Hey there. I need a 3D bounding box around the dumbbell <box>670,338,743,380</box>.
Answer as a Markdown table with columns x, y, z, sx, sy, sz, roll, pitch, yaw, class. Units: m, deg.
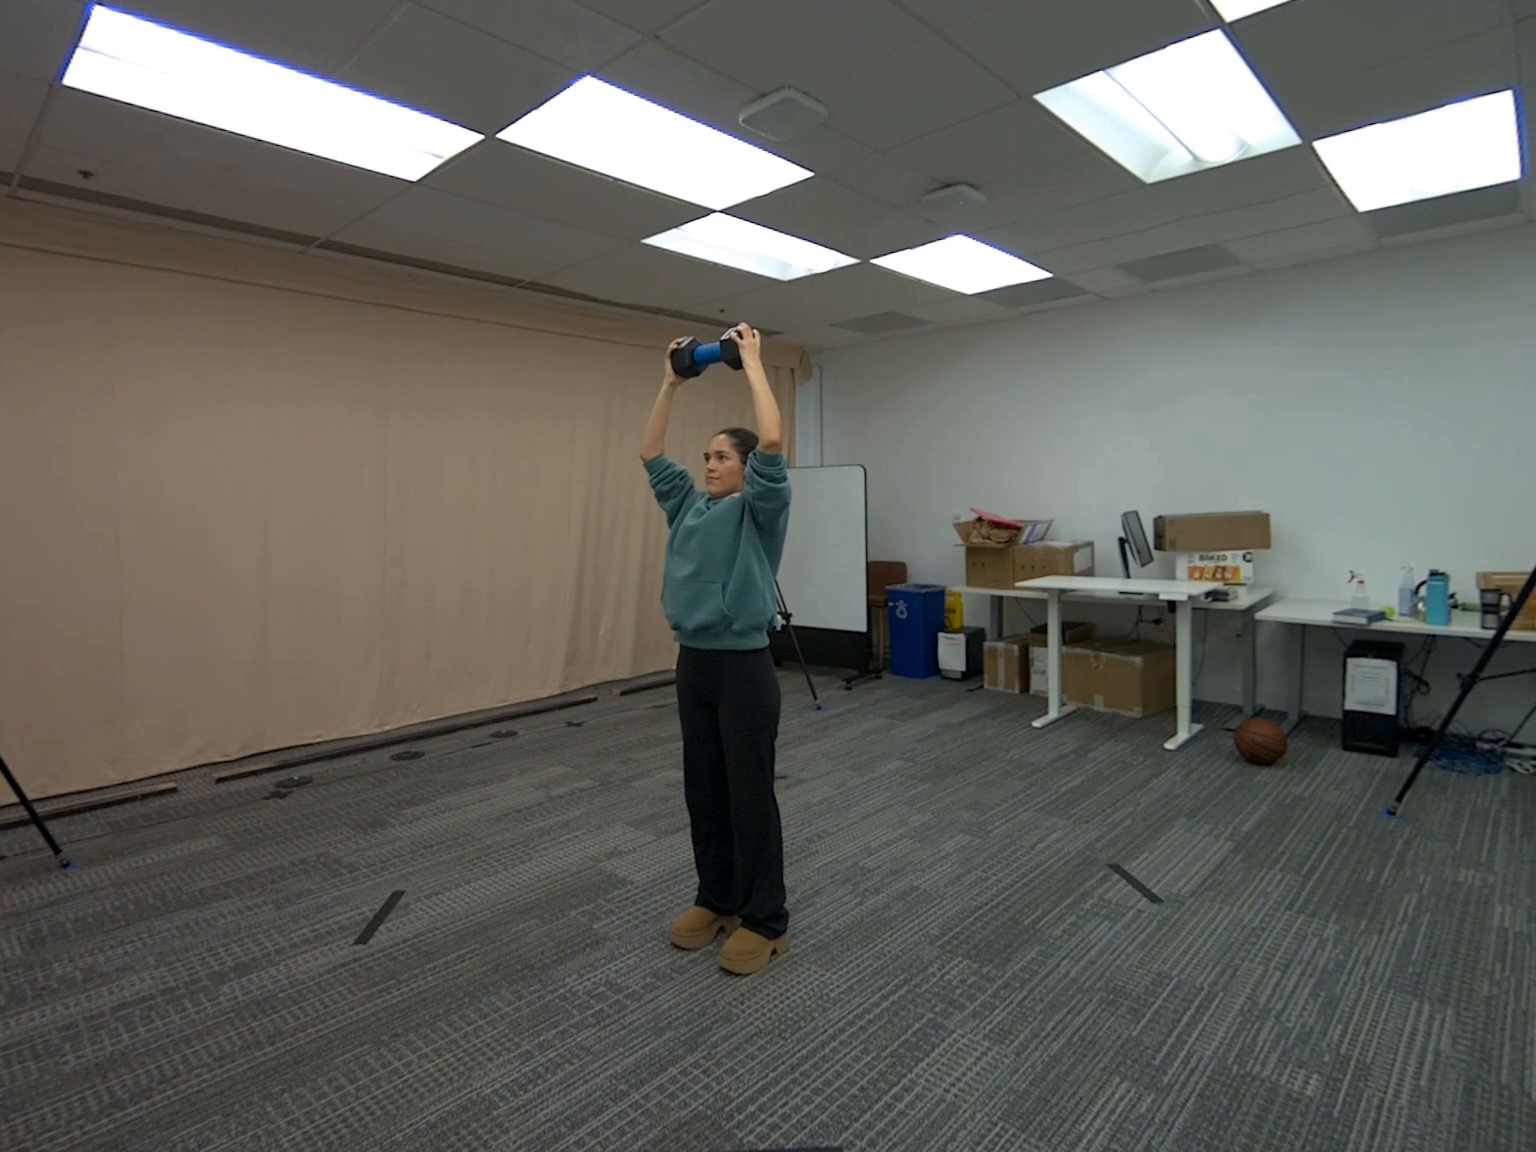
| x | y | z | sx | sy | sz | roll | pitch | yaw | class |
| --- | --- | --- | --- | --- | --- | --- | --- | --- | --- |
| -0.156 | -0.683 | 2.568 | 0.303 | 0.122 | 0.106 | 2 | 12 | 42 | dumbbell |
